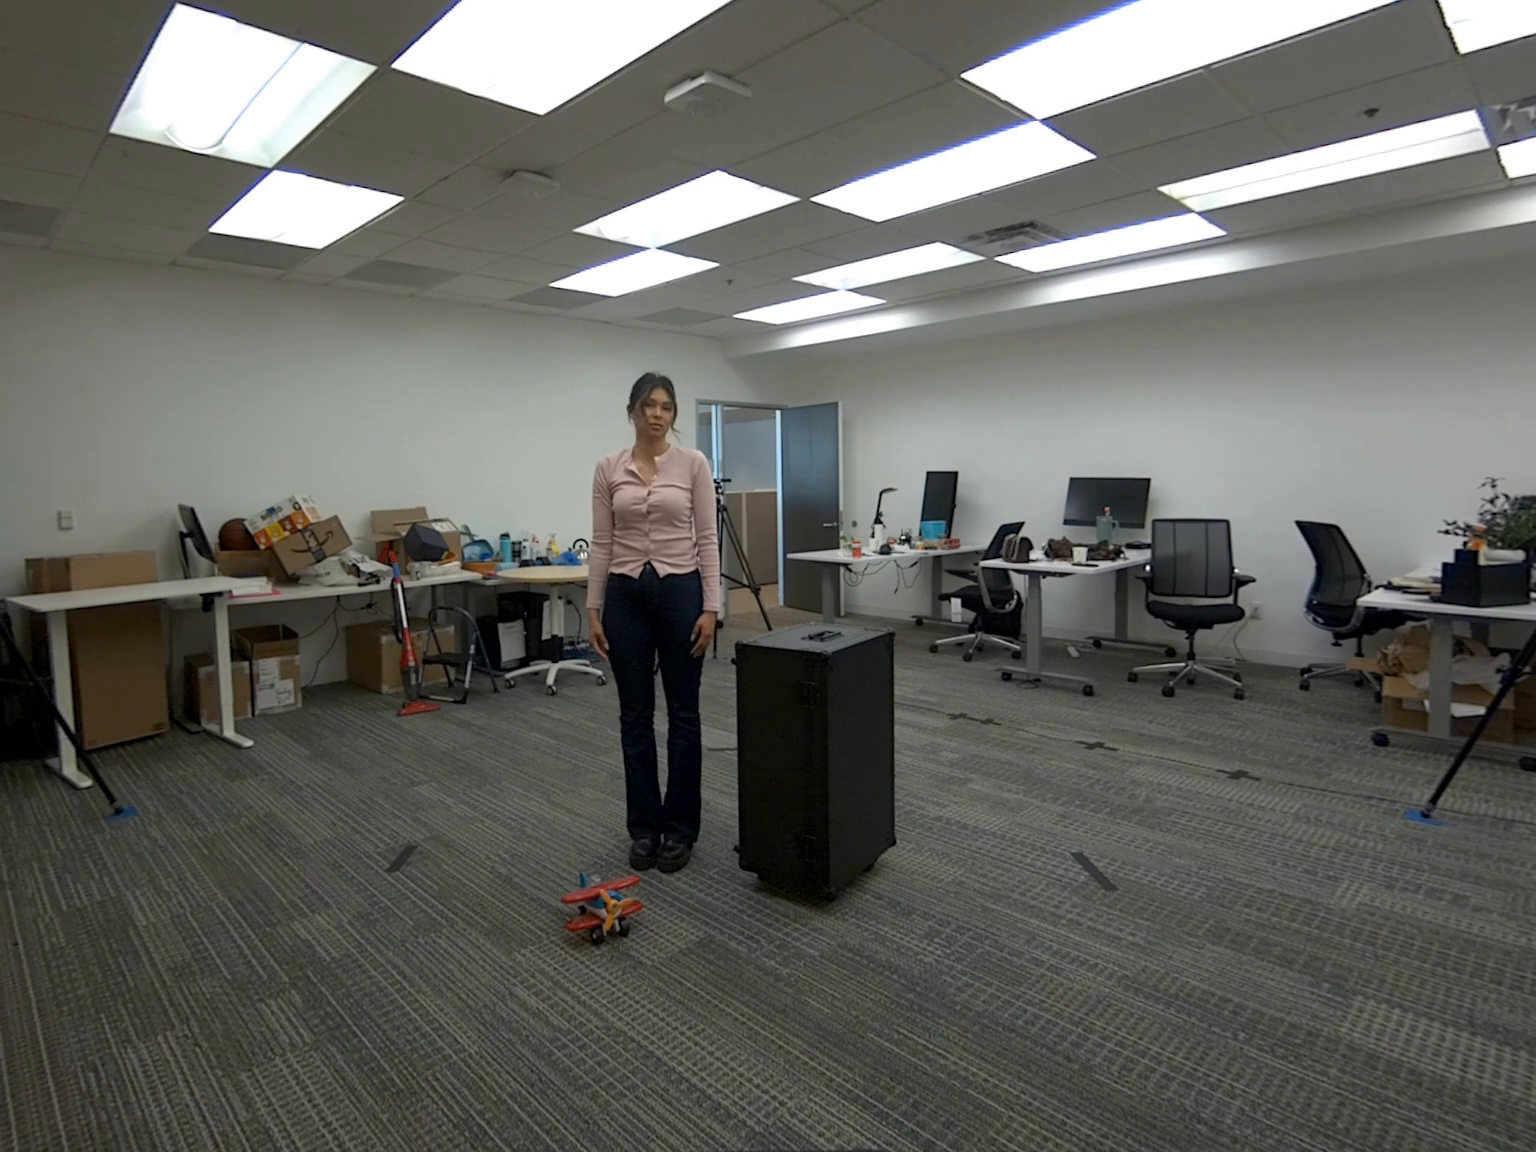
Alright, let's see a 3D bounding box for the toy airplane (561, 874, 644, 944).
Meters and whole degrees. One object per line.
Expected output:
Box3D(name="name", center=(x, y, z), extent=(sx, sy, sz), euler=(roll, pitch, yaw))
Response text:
Box3D(name="toy airplane", center=(-0.547, 1.038, 2.667), extent=(0.266, 0.155, 0.246), euler=(6, 8, 27))
